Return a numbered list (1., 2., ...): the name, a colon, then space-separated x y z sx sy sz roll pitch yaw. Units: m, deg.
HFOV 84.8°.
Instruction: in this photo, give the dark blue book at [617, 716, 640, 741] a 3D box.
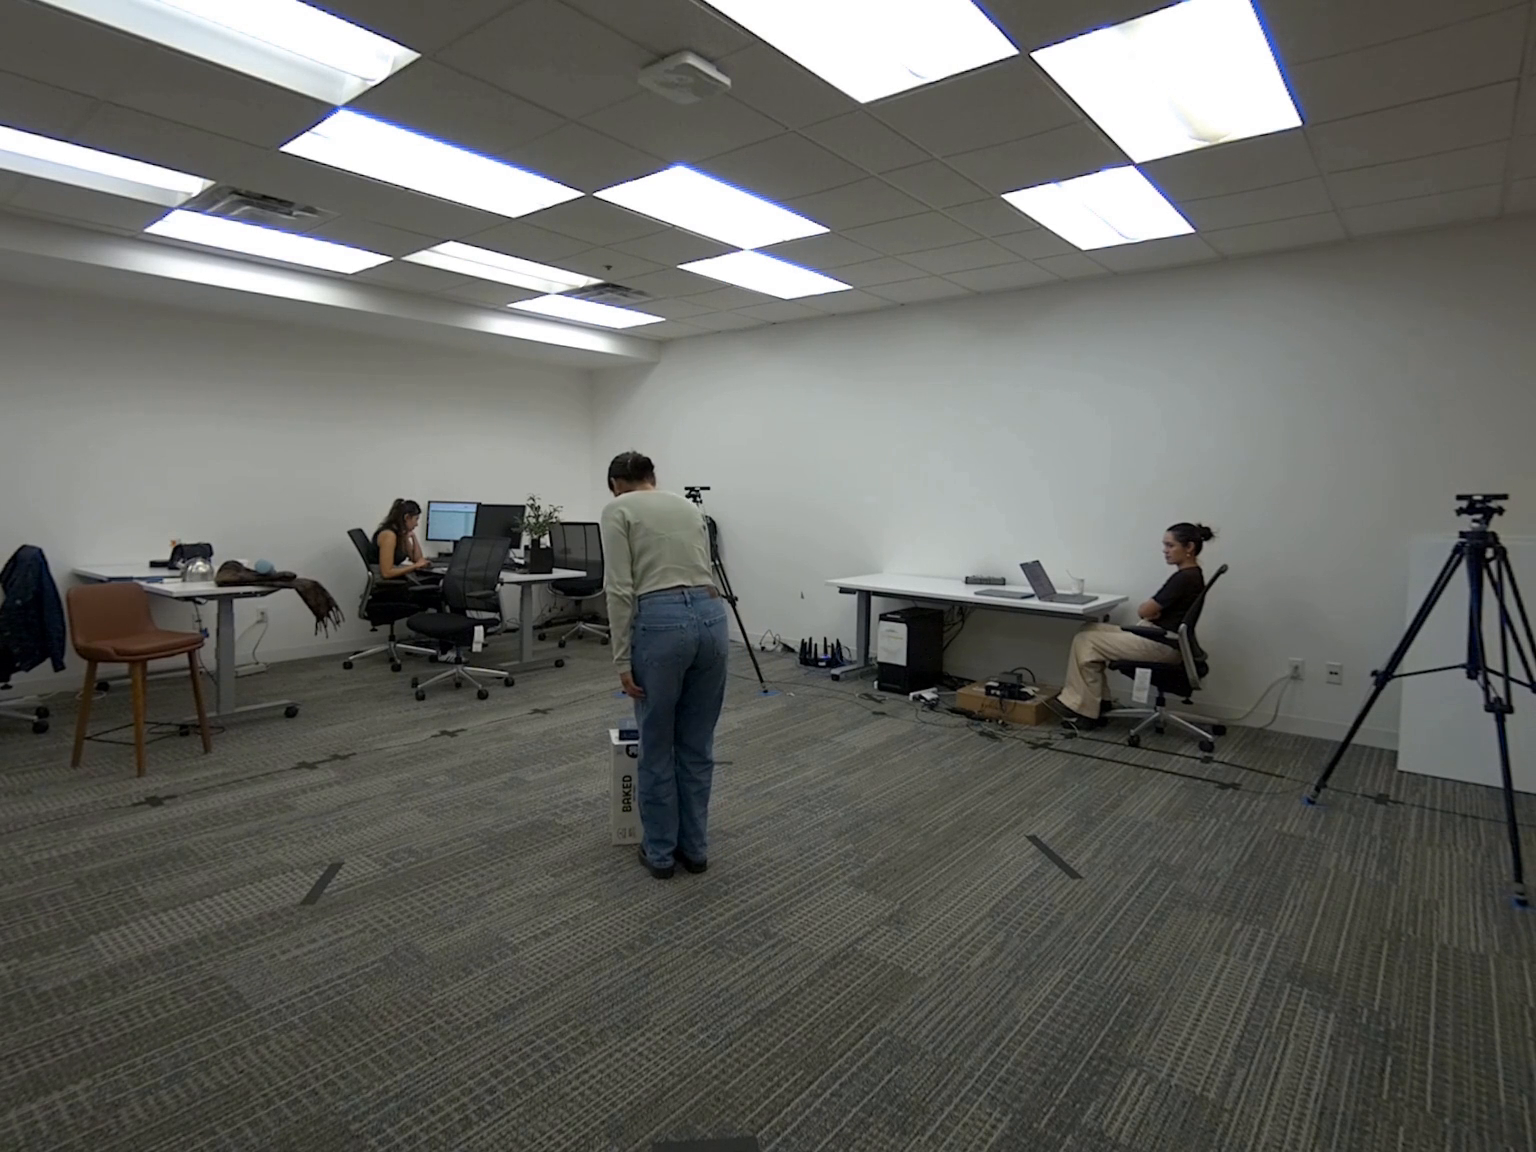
1. dark blue book: -0.488 0.609 3.401 0.243 0.045 0.165 0 5 -7
